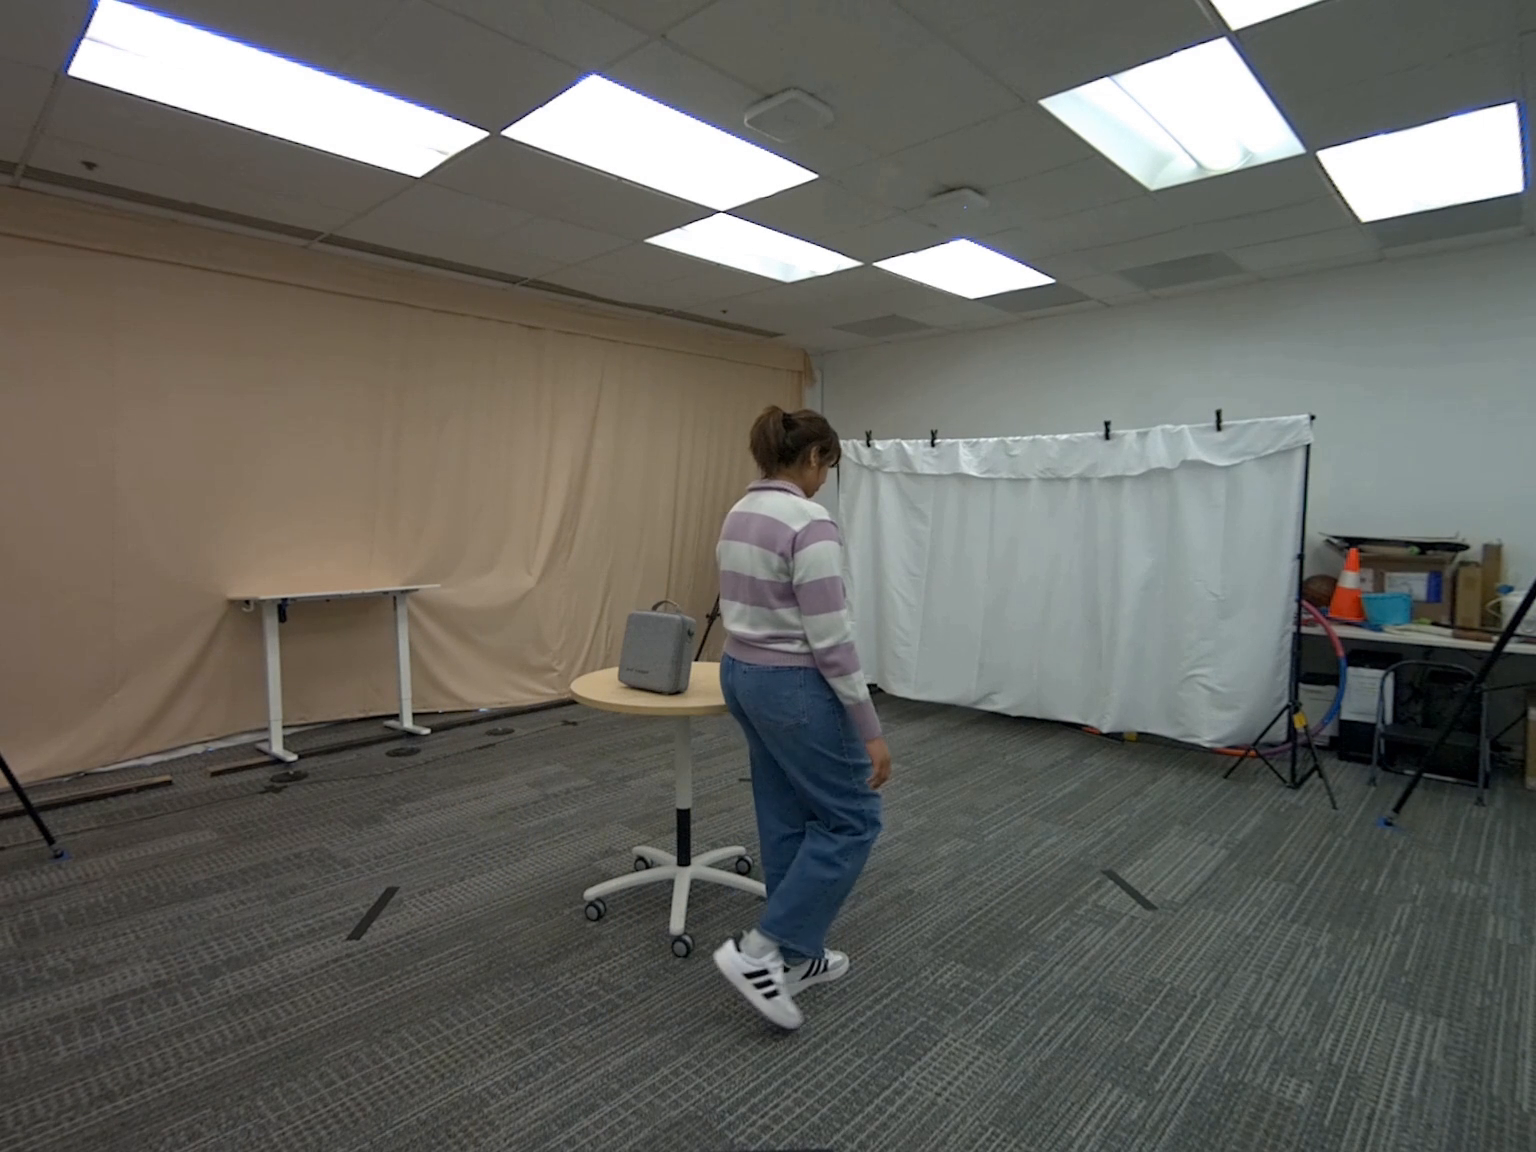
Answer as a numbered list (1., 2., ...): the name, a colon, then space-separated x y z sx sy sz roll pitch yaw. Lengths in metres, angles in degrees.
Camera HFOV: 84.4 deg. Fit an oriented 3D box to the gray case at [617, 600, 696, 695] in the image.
1. gray case: -0.368 0.245 2.790 0.265 0.261 0.100 3 -8 39
